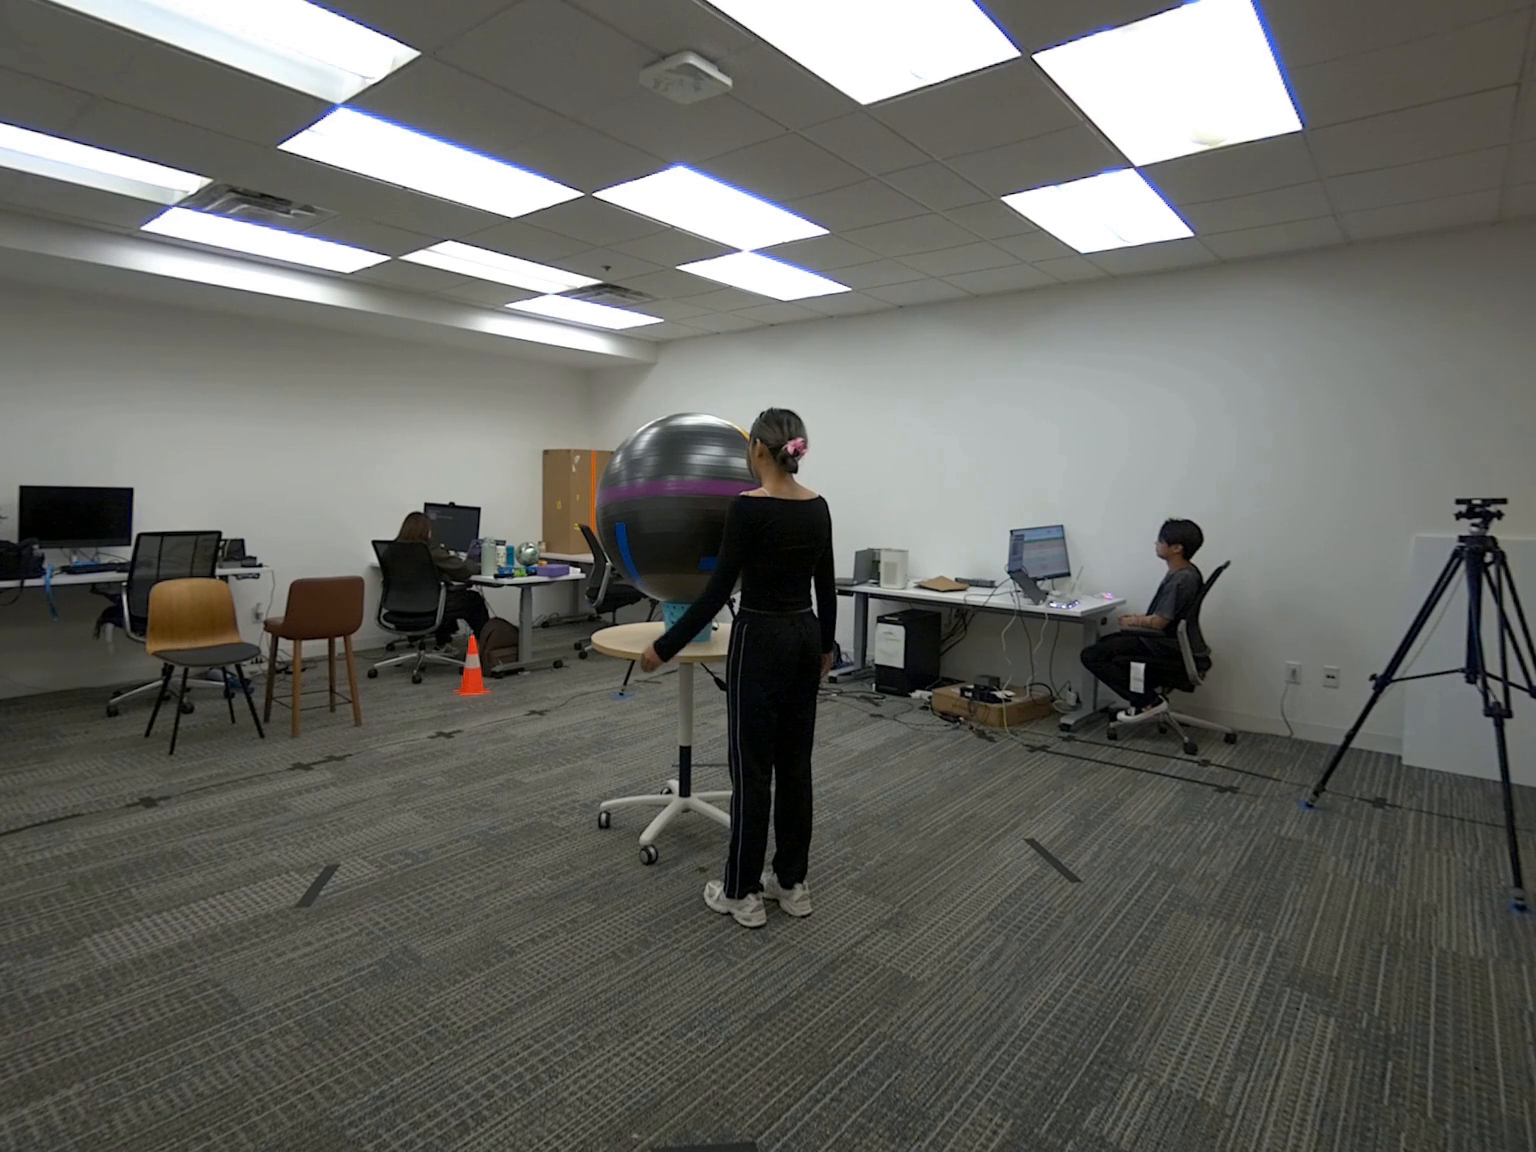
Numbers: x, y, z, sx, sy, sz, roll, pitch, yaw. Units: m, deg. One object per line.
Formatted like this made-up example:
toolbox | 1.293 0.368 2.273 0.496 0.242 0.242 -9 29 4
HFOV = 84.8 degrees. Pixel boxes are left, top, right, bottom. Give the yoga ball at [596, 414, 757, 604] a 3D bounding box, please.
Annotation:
yoga ball | -0.317 -0.259 3.386 0.757 0.756 0.762 1 4 -2
